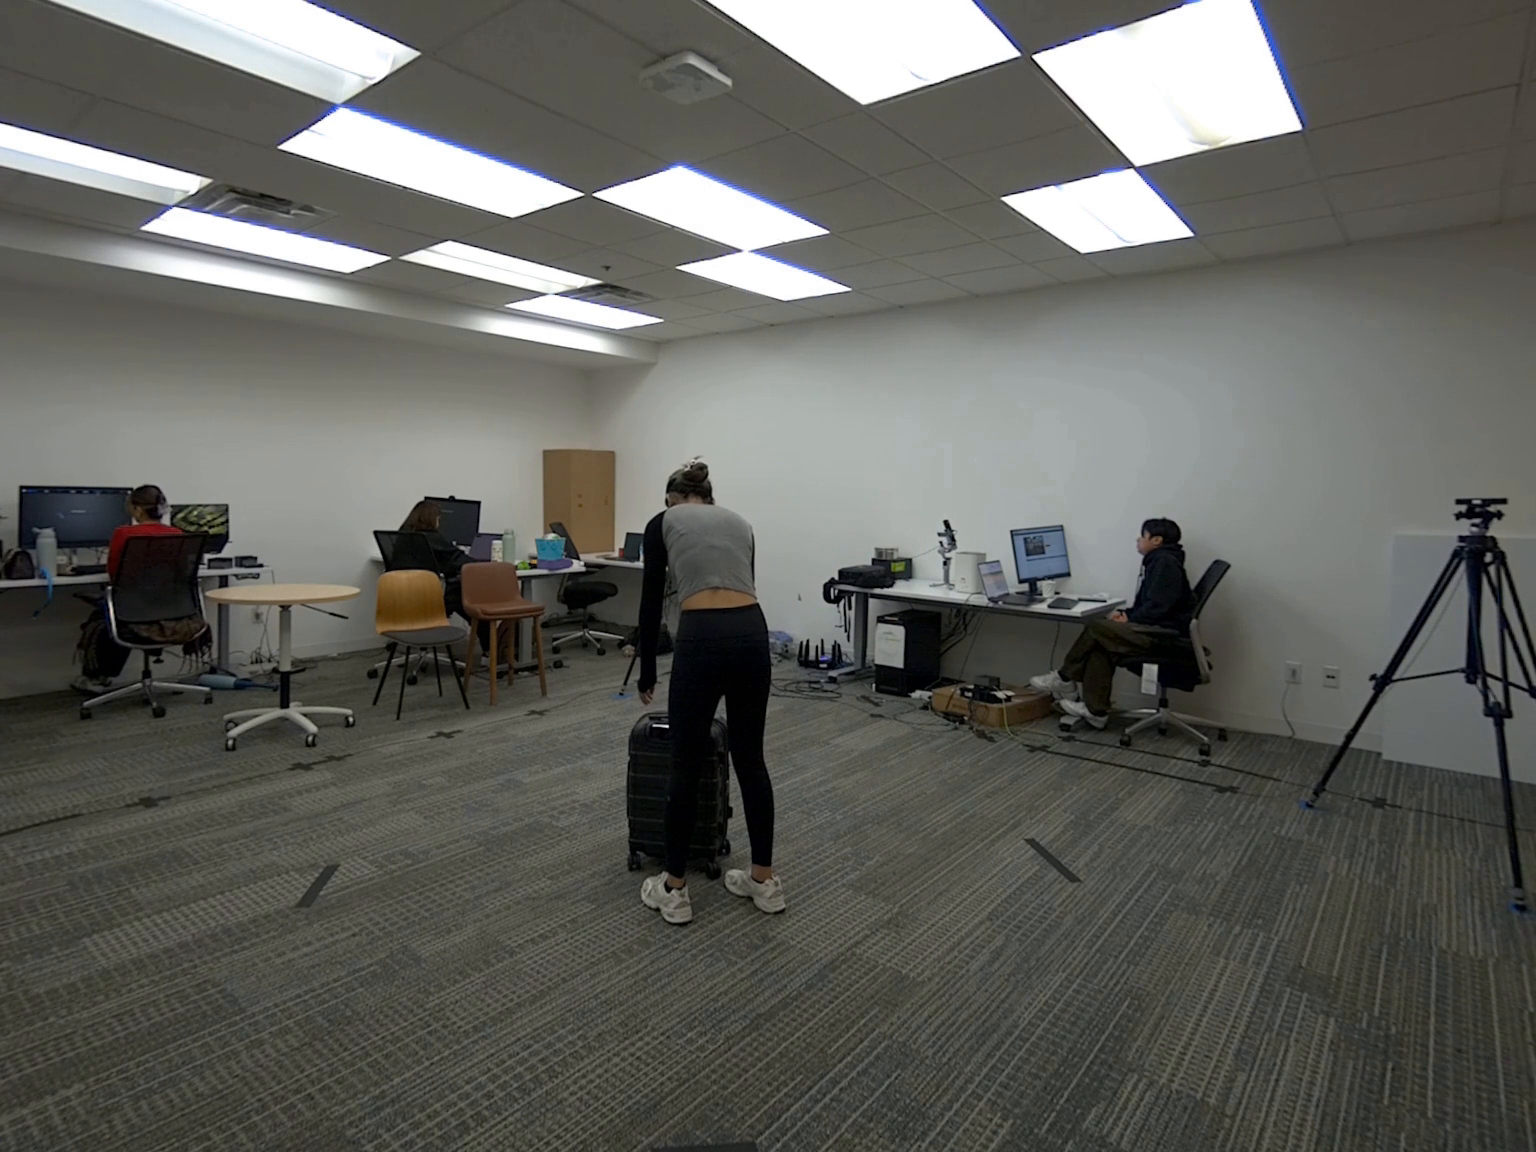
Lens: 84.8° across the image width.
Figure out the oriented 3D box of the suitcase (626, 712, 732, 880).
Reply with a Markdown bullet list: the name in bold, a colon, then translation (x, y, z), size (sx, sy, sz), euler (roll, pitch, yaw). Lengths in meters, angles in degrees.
- **suitcase**: translation (-0.344, 0.784, 3.186), size (0.380, 0.549, 0.245), euler (1, 1, 12)
